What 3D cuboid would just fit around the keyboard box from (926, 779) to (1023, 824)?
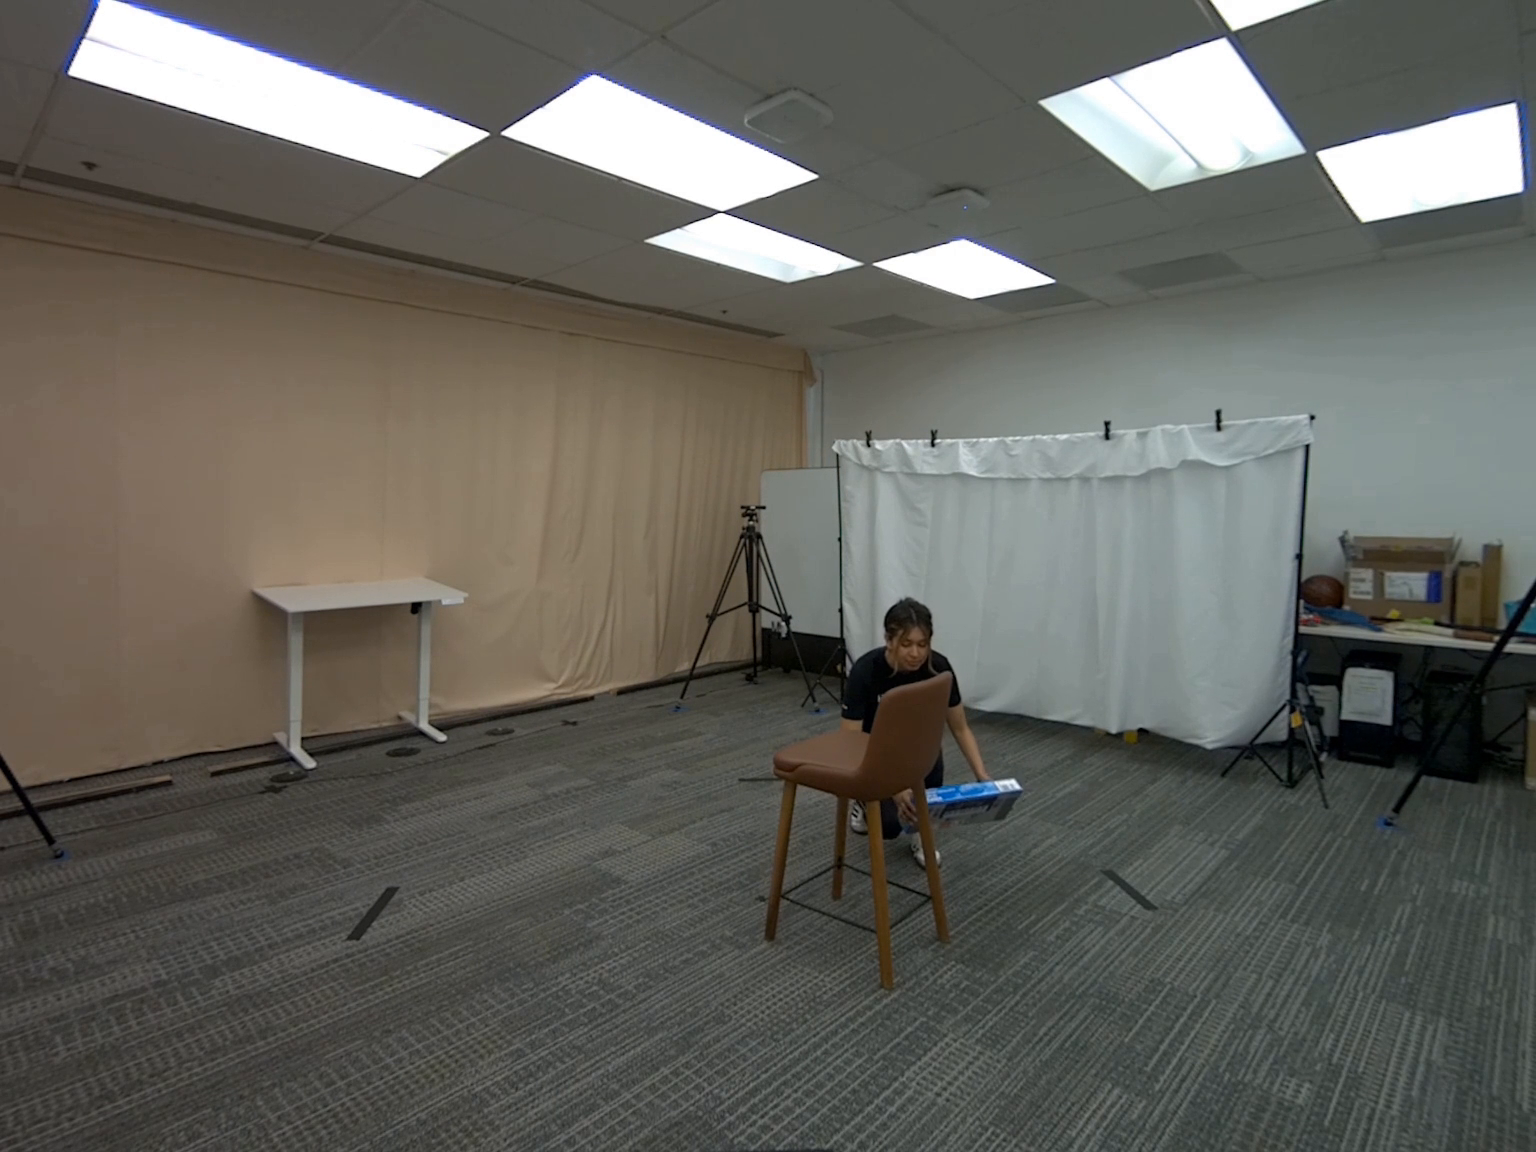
[{"bbox_3d":[0.704,0.826,3.026,0.427,0.174,0.061,-1,36,-23],"label":"keyboard box"}]
